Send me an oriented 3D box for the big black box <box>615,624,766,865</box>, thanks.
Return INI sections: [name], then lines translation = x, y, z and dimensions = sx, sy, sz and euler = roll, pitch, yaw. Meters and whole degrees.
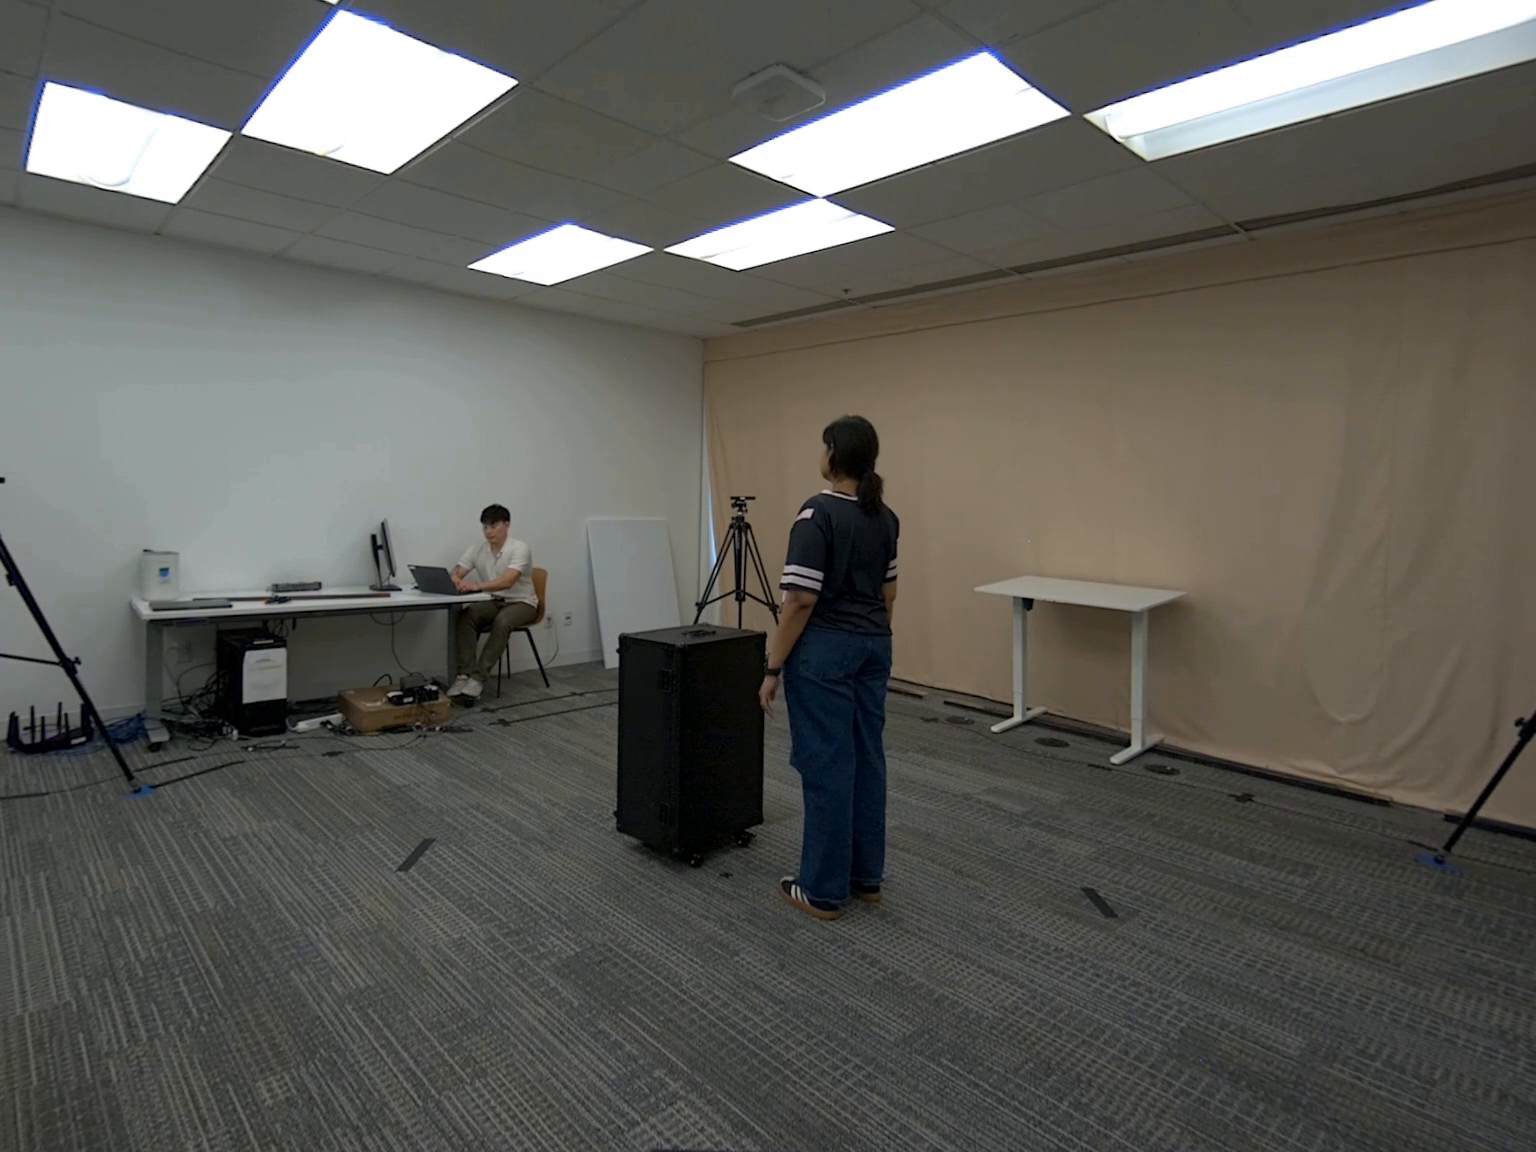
[big black box]
translation = -0.318, 0.658, 3.359
dimensions = 0.395, 0.867, 0.511
euler = 3, 3, 41
